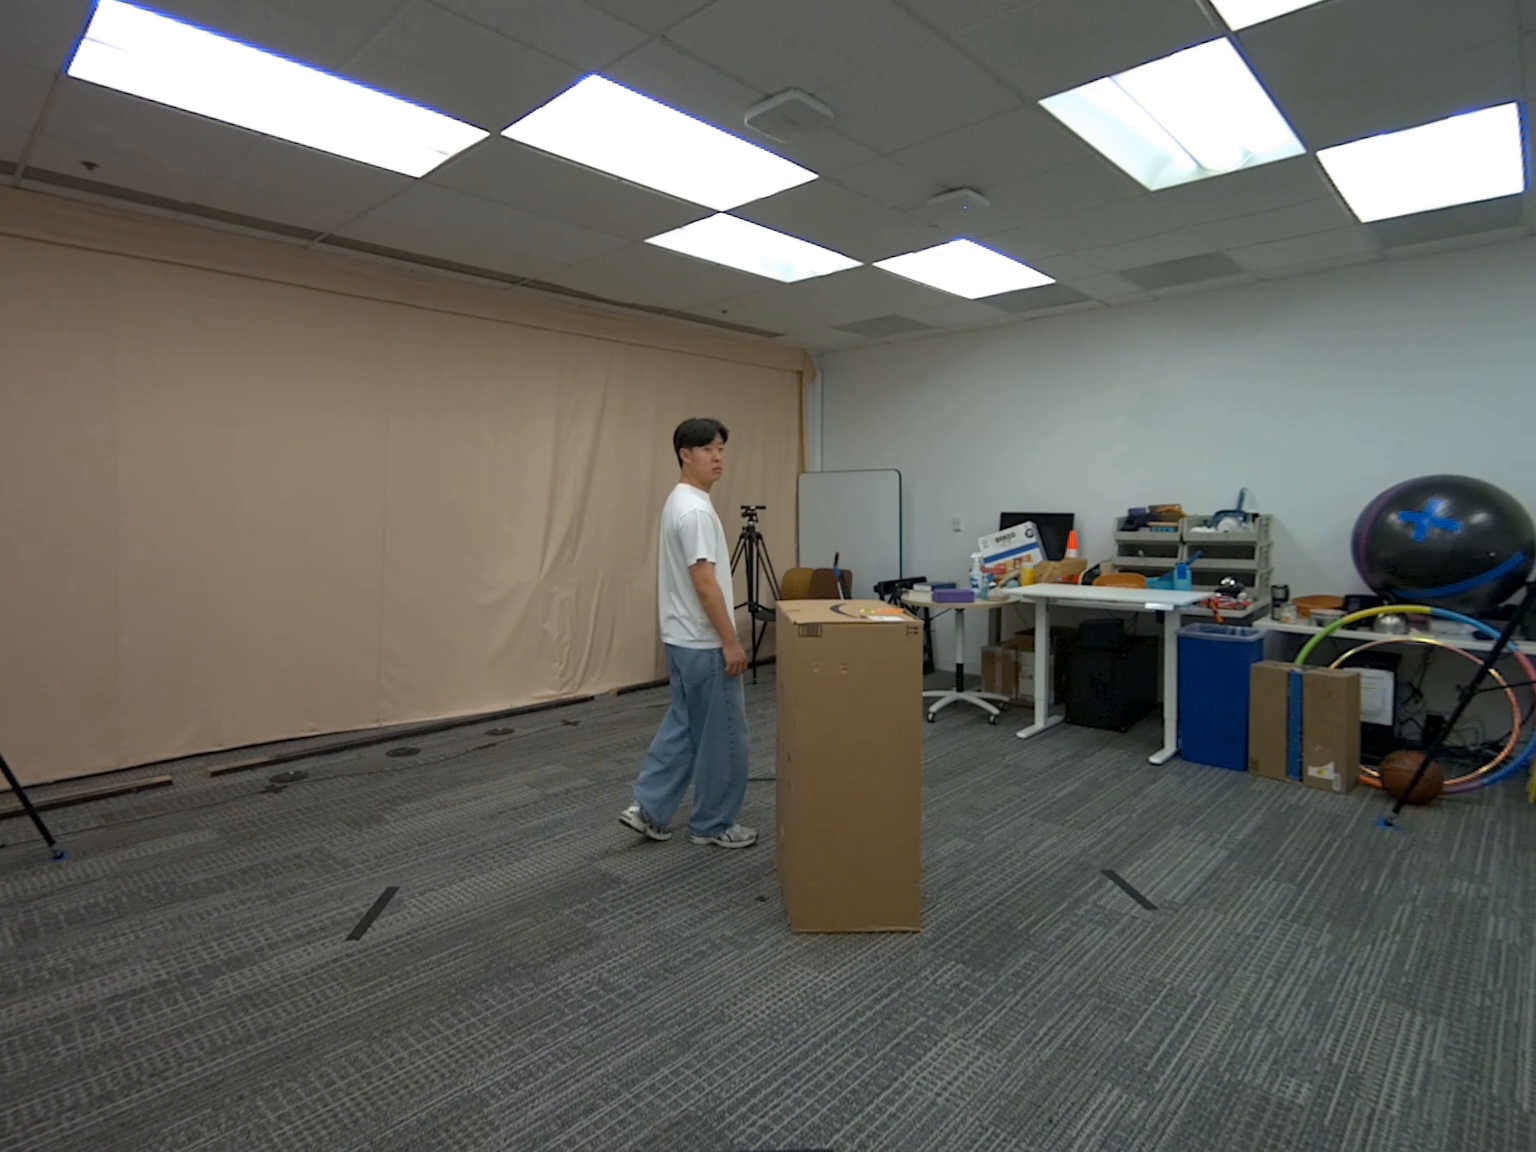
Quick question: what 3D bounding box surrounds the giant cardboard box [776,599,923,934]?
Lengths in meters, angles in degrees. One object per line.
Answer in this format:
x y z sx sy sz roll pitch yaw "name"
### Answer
0.273 0.633 2.994 0.425 1.024 0.581 0 3 -4 "giant cardboard box"
